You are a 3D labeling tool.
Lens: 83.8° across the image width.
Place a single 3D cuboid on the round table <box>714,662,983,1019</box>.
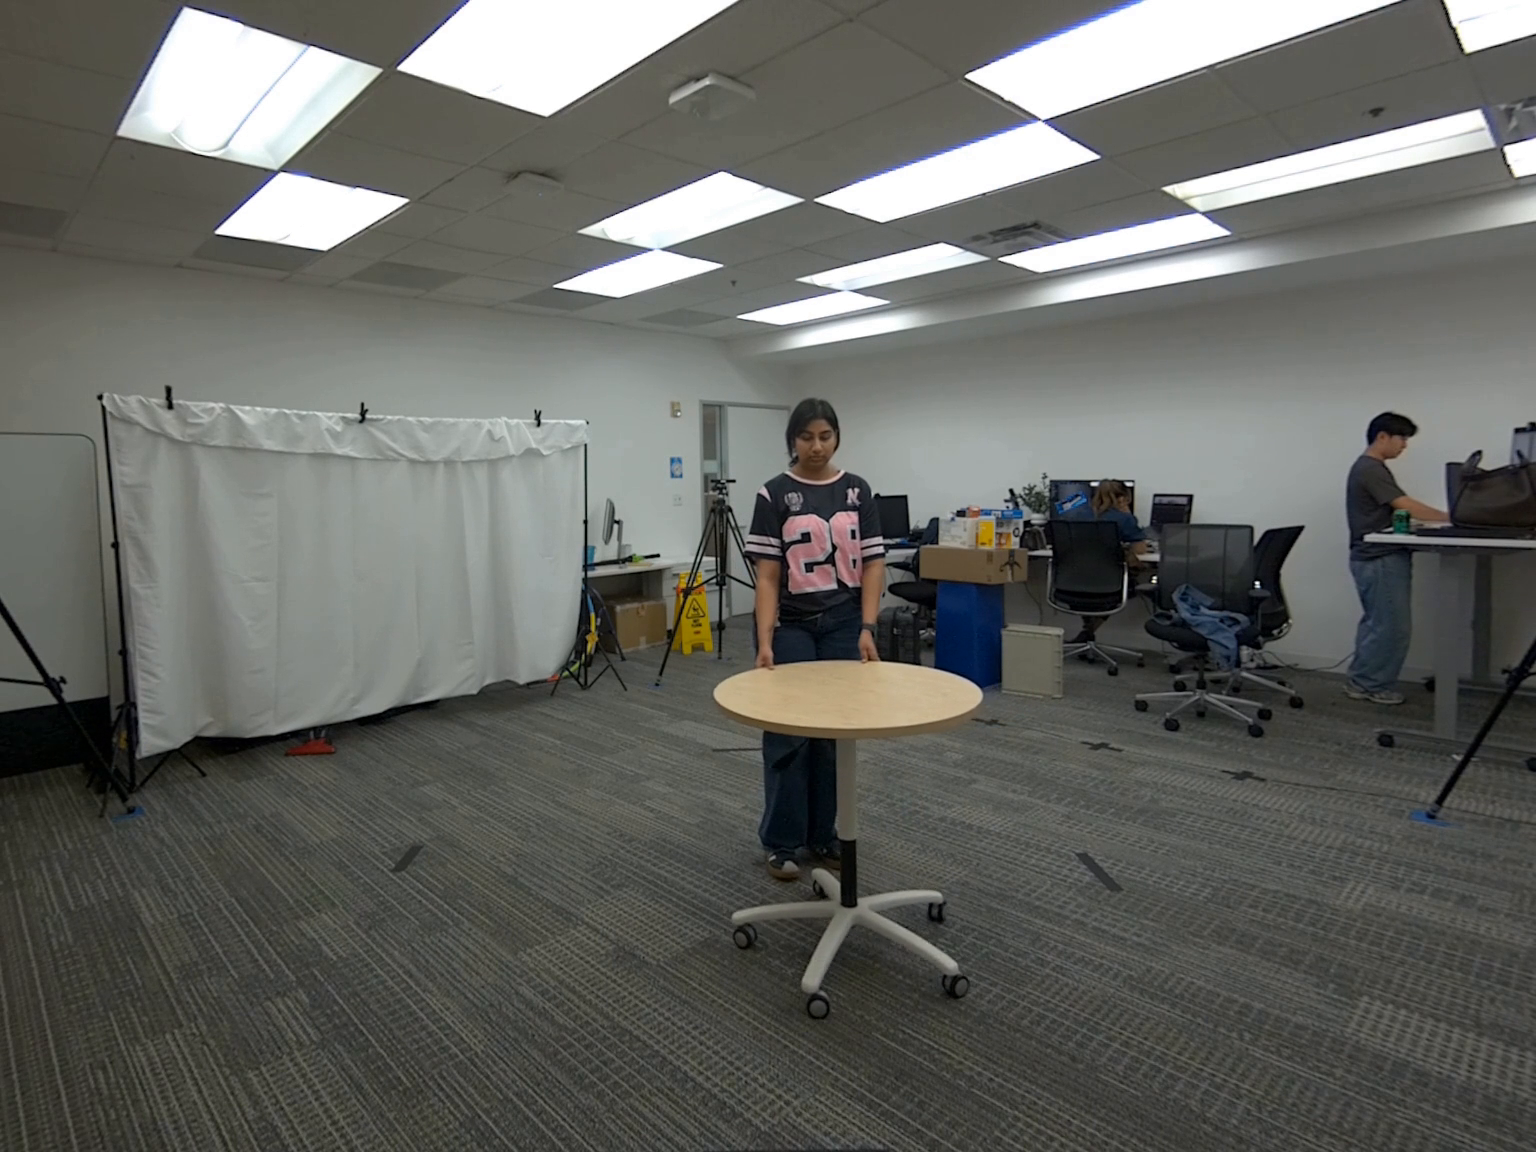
[{"bbox_3d":[0.243,0.720,2.518,0.784,0.783,0.790,-1,6,-2],"label":"round table"}]
